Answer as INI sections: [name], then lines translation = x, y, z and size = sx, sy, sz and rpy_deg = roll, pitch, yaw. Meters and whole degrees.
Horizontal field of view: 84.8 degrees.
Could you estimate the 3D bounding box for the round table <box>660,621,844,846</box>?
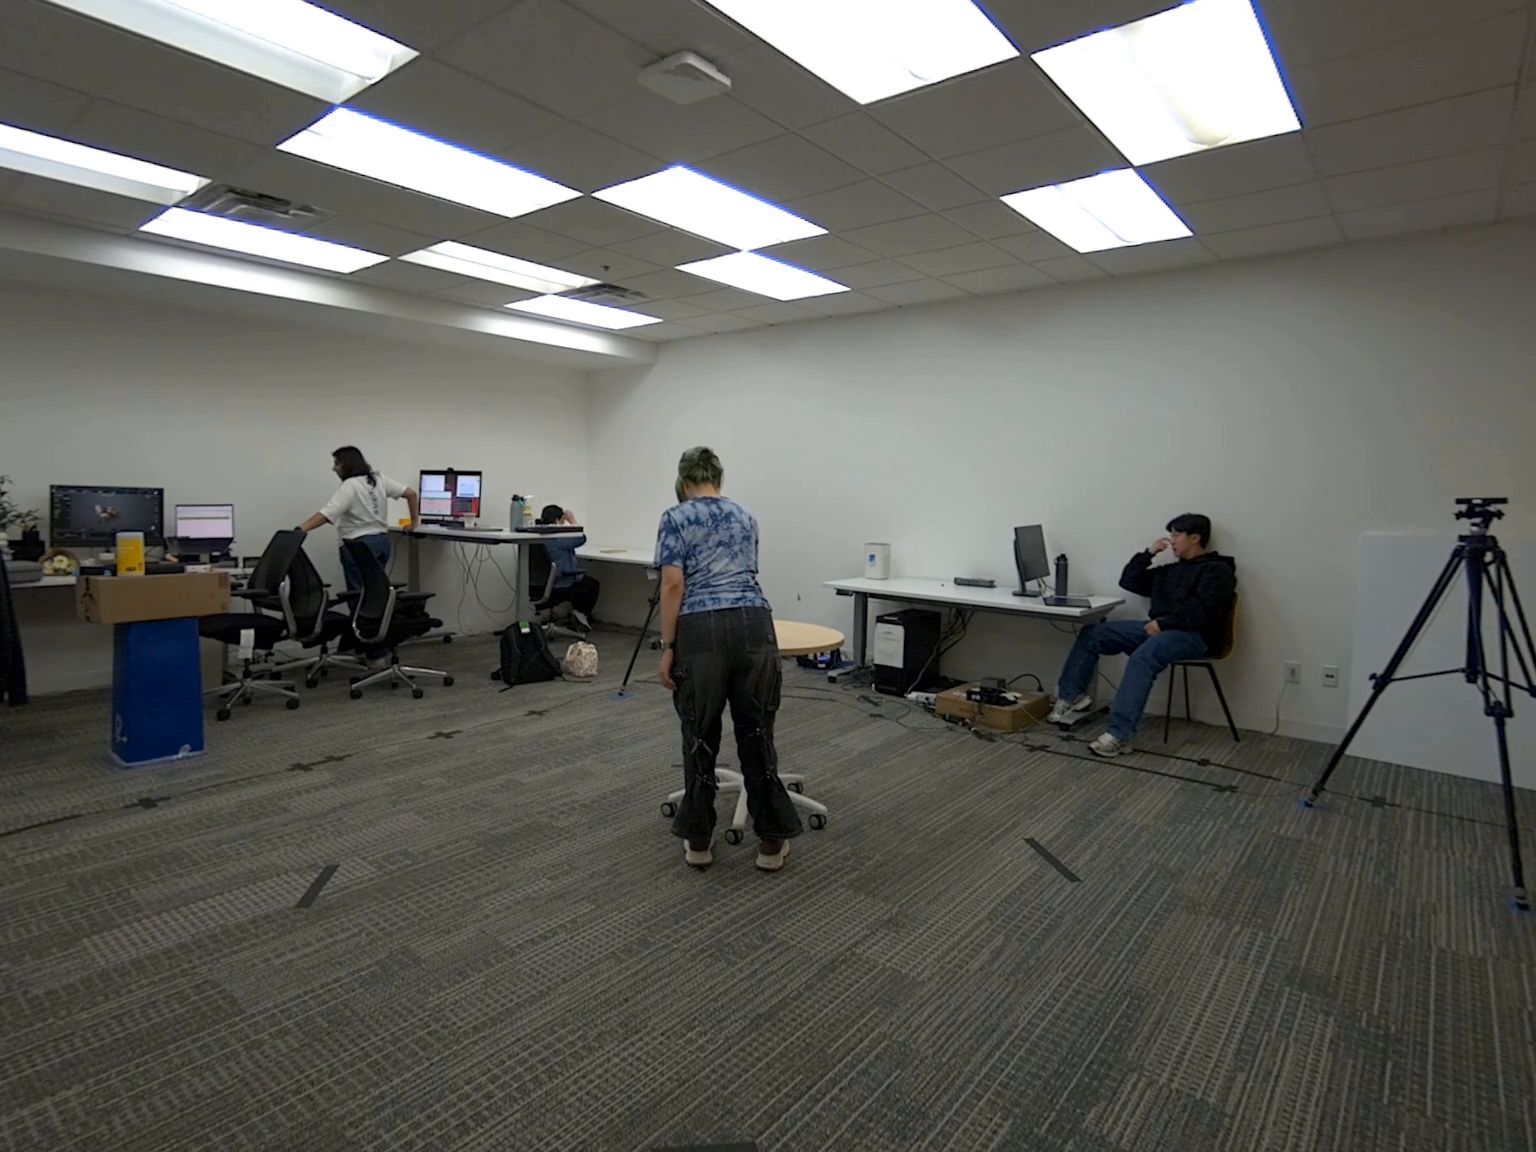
[round table]
translation = -0.068, 0.626, 3.629
size = 0.784, 0.784, 0.789
rpy_deg = 1, 4, -2
